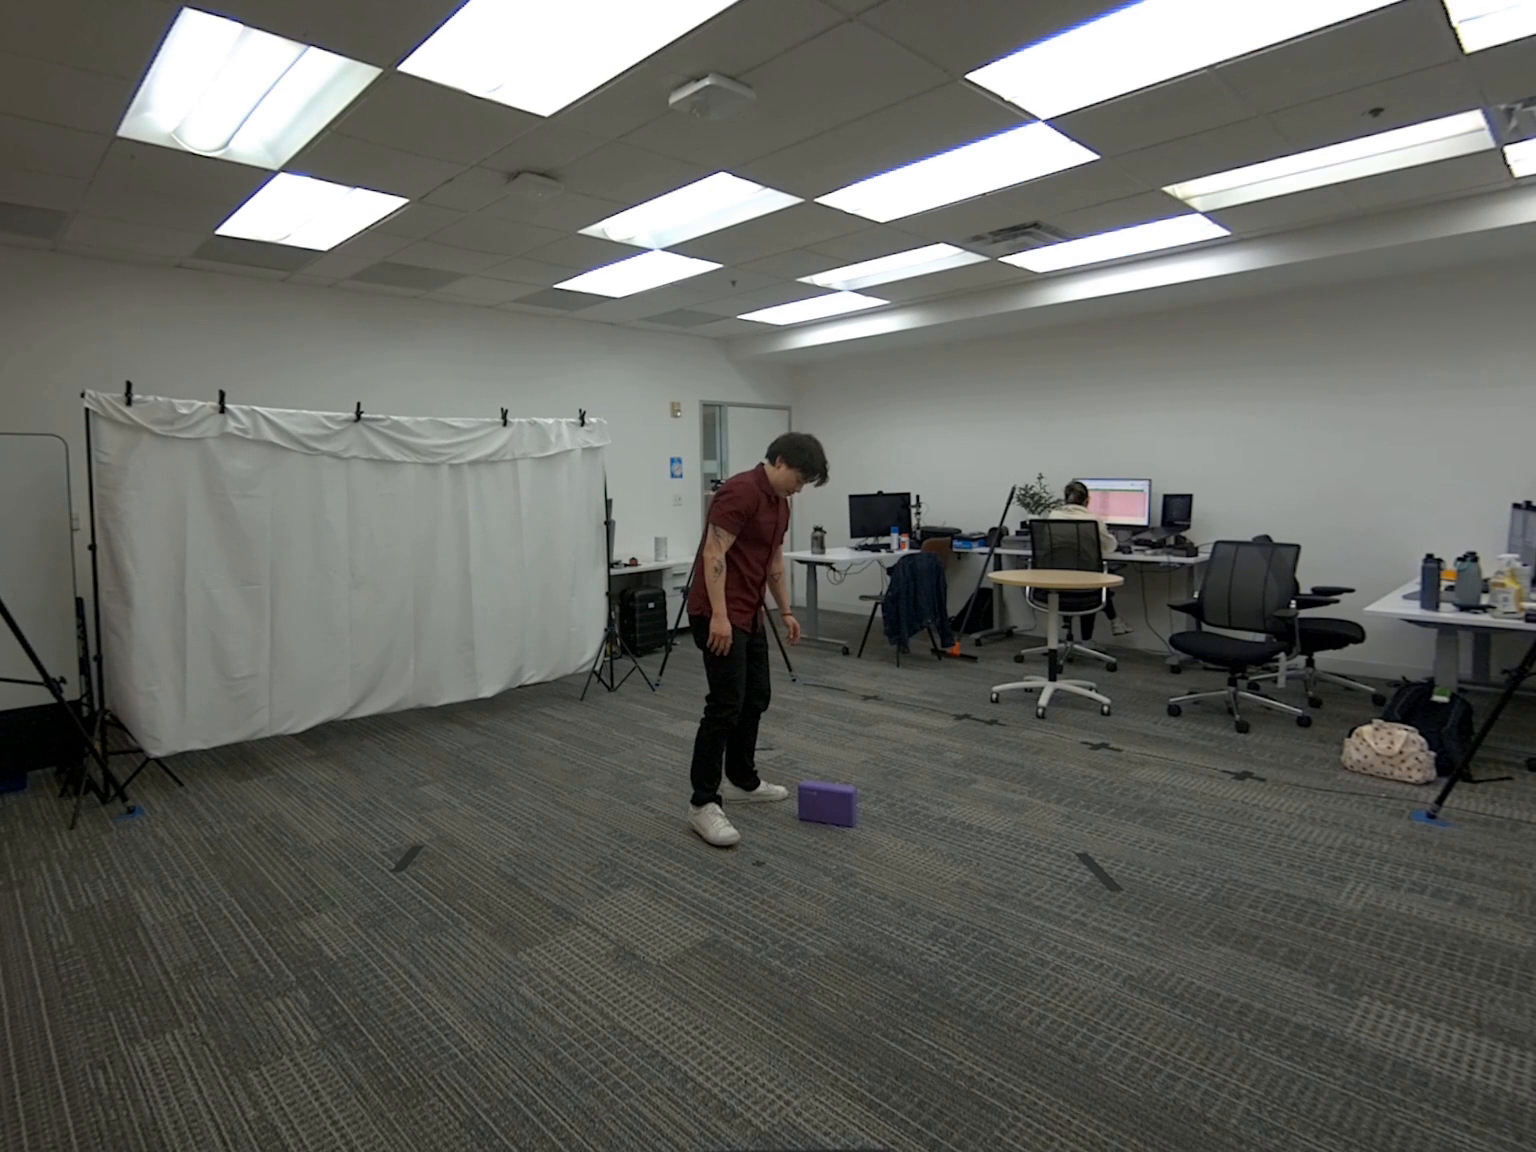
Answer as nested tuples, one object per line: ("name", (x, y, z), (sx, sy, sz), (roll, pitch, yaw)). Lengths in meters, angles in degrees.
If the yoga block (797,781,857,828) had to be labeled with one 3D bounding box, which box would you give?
("yoga block", (0.242, 0.921, 3.482), (0.234, 0.148, 0.075), (2, 3, 22))
